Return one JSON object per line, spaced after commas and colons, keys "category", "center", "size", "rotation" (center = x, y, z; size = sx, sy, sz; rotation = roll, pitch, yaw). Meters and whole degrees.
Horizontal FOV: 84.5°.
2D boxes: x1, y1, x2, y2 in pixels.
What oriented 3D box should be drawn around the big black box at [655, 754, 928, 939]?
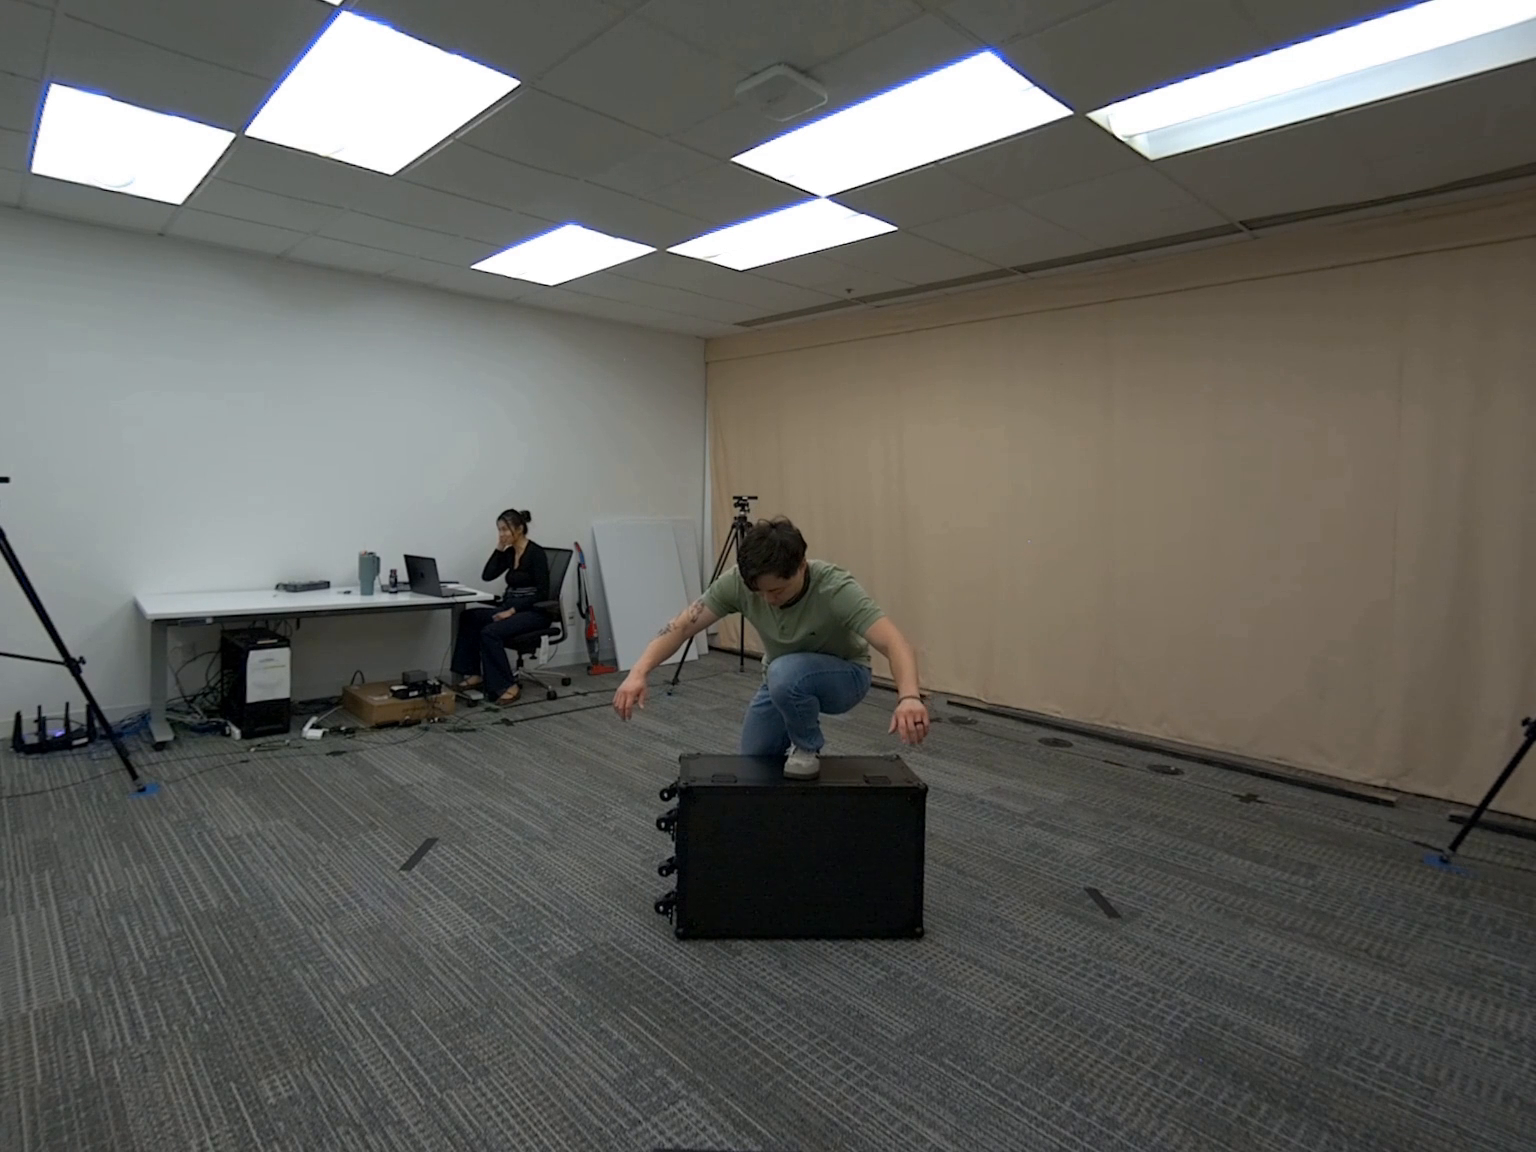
{"category": "big black box", "center": [0.056, 0.879, 2.822], "size": [0.858, 0.520, 0.398], "rotation": [1, 2, -4]}
